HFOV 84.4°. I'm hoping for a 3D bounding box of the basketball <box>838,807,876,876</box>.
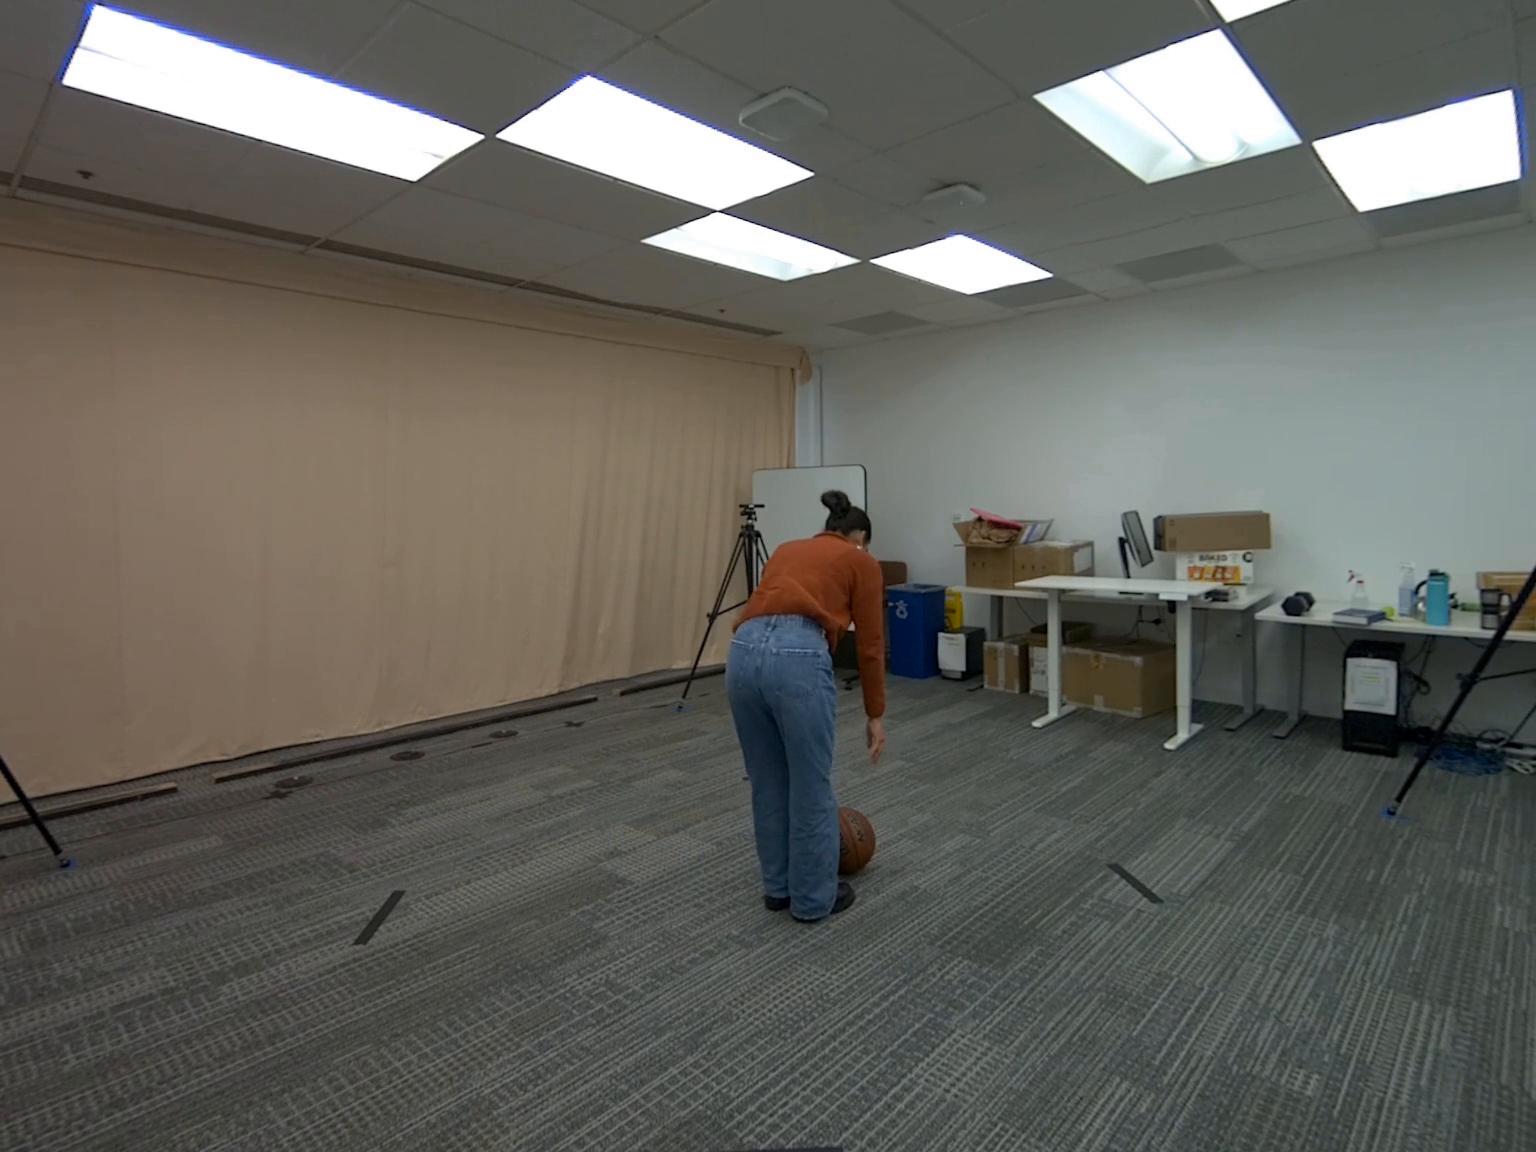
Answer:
[{"bbox_3d":[0.293,0.991,3.177,0.236,0.235,0.237,-1,4,-2],"label":"basketball"}]
